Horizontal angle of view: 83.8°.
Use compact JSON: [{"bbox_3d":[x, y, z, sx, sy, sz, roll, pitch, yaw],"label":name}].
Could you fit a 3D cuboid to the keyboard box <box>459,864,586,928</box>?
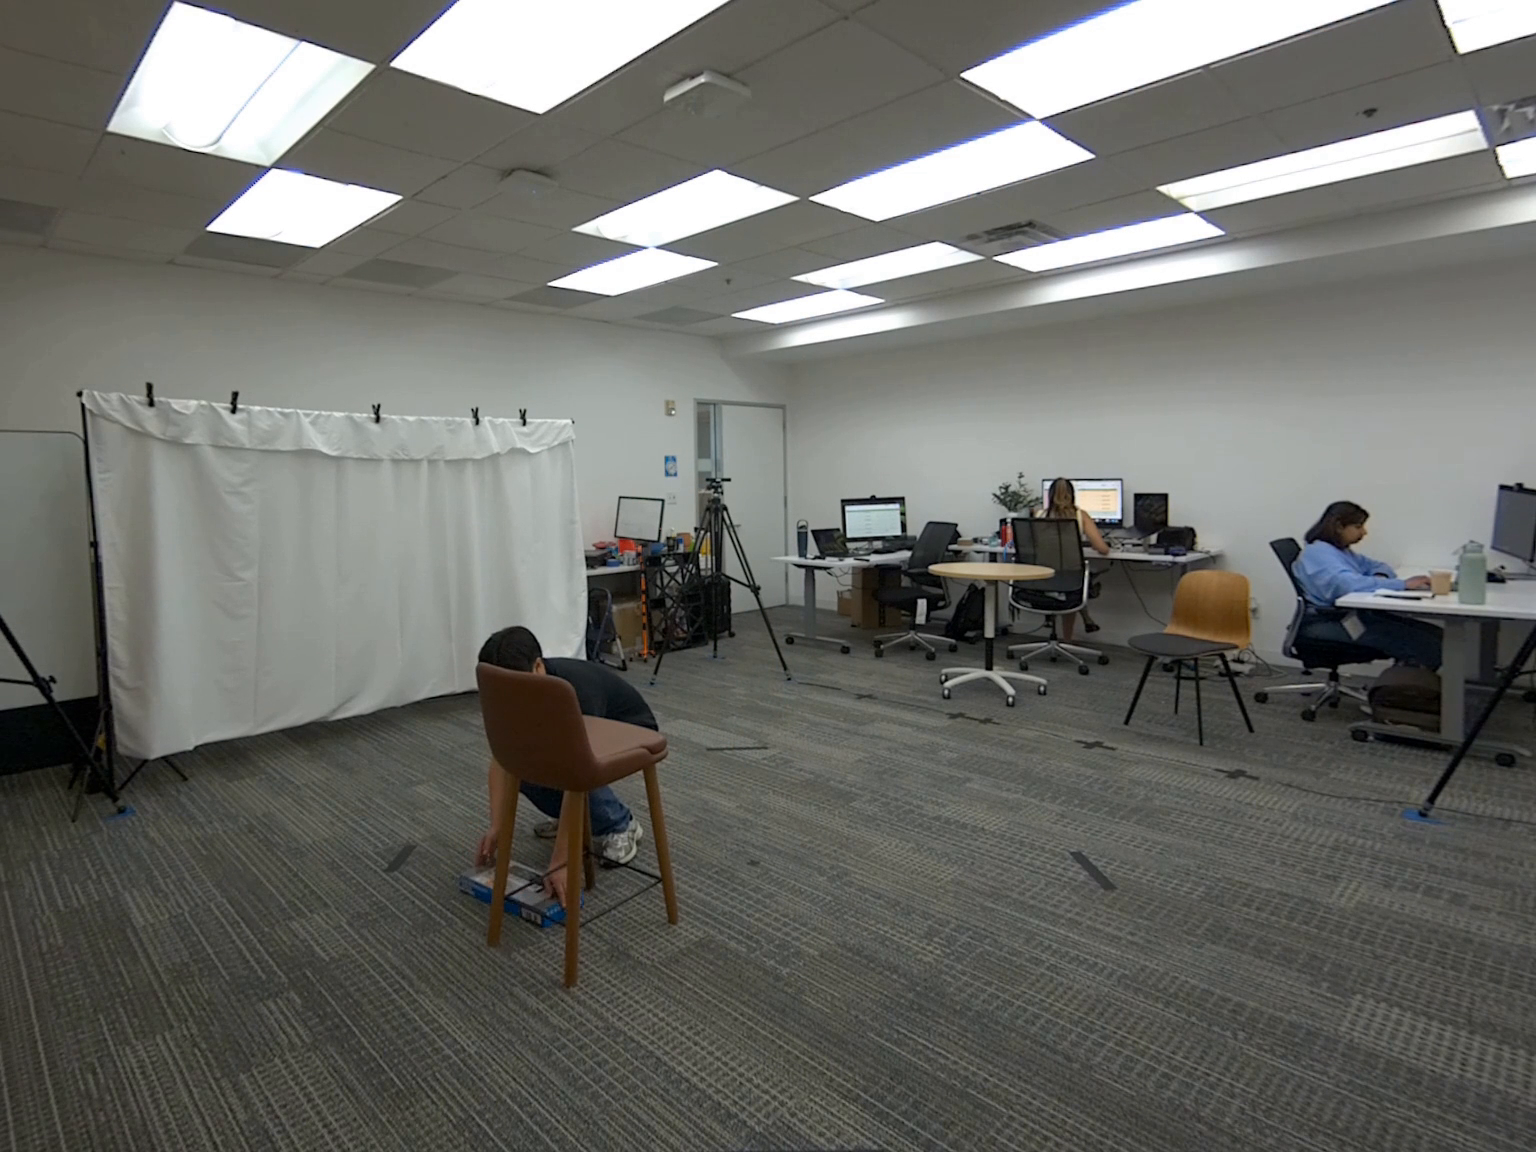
[{"bbox_3d":[-0.833,1.061,2.872,0.450,0.059,0.172,4,10,37],"label":"keyboard box"}]
